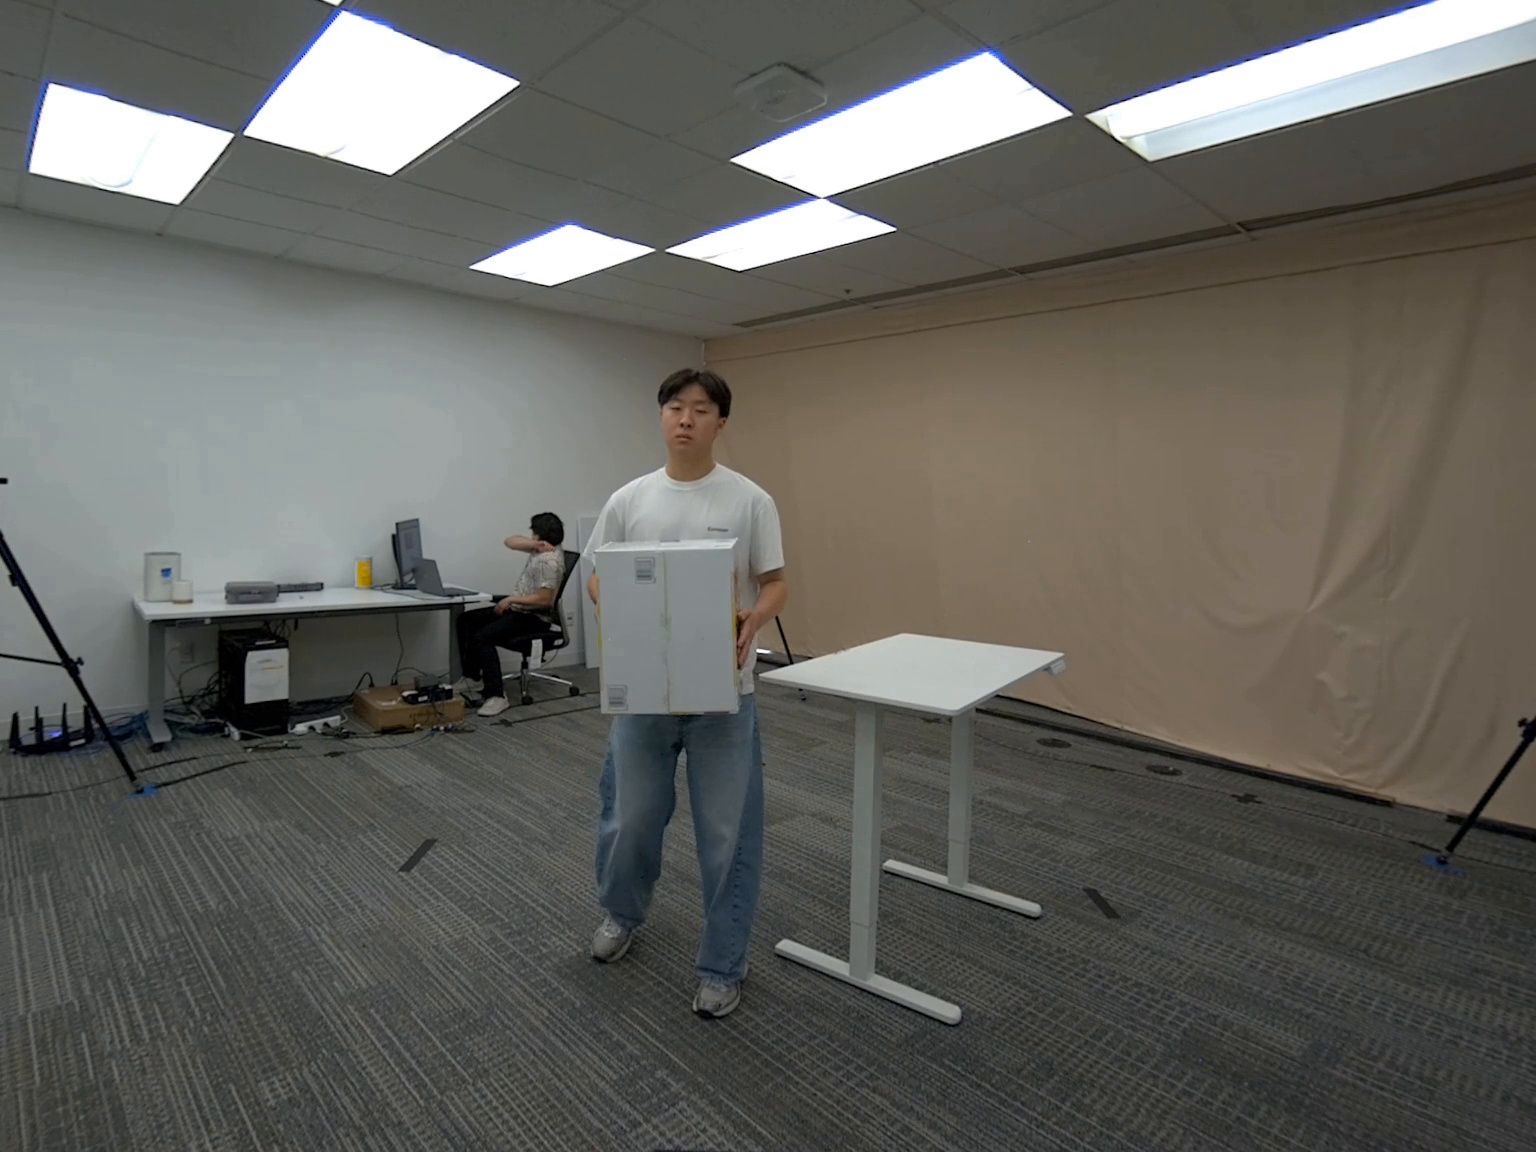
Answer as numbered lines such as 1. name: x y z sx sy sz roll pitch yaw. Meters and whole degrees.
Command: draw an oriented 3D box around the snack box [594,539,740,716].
1. snack box: -0.255 0.121 2.111 0.341 0.403 0.206 -2 6 2
